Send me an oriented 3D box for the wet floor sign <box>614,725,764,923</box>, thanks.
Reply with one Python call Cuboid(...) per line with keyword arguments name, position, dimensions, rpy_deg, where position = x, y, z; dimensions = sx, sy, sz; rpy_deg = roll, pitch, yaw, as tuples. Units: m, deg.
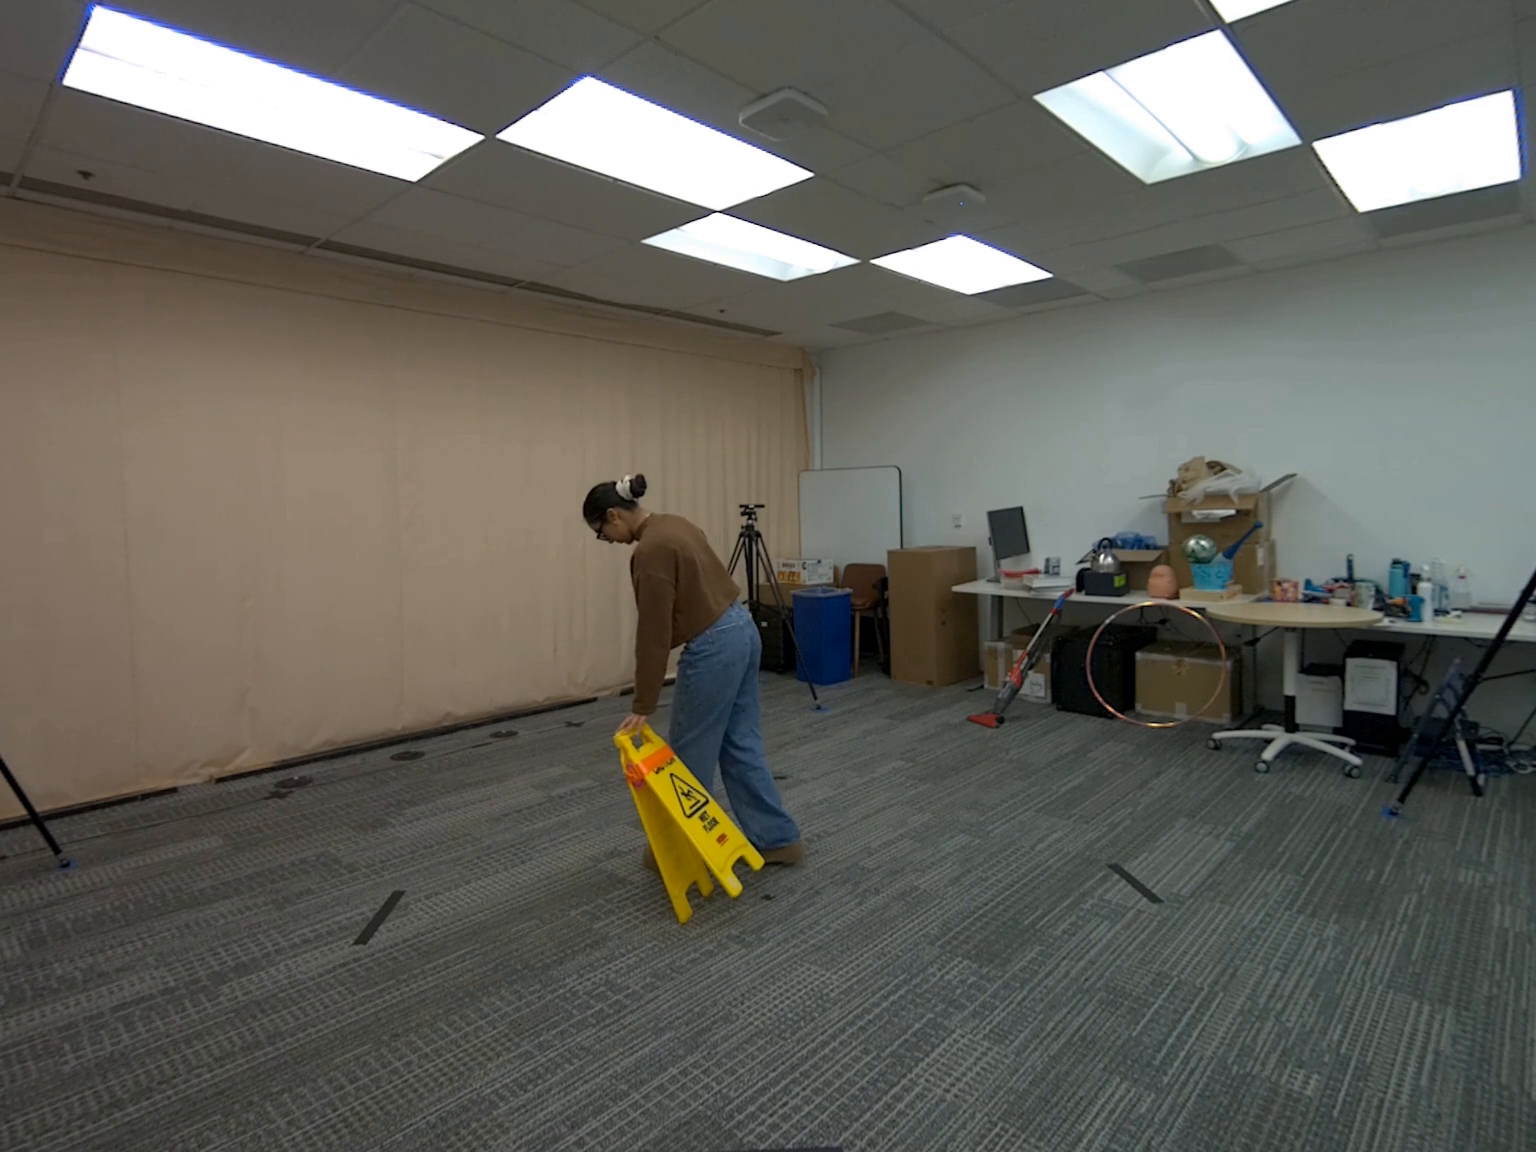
Cuboid(name="wet floor sign", position=(-0.325, 0.812, 2.930), dimensions=(0.292, 0.653, 0.276), rpy_deg=(-35, -10, 19))
